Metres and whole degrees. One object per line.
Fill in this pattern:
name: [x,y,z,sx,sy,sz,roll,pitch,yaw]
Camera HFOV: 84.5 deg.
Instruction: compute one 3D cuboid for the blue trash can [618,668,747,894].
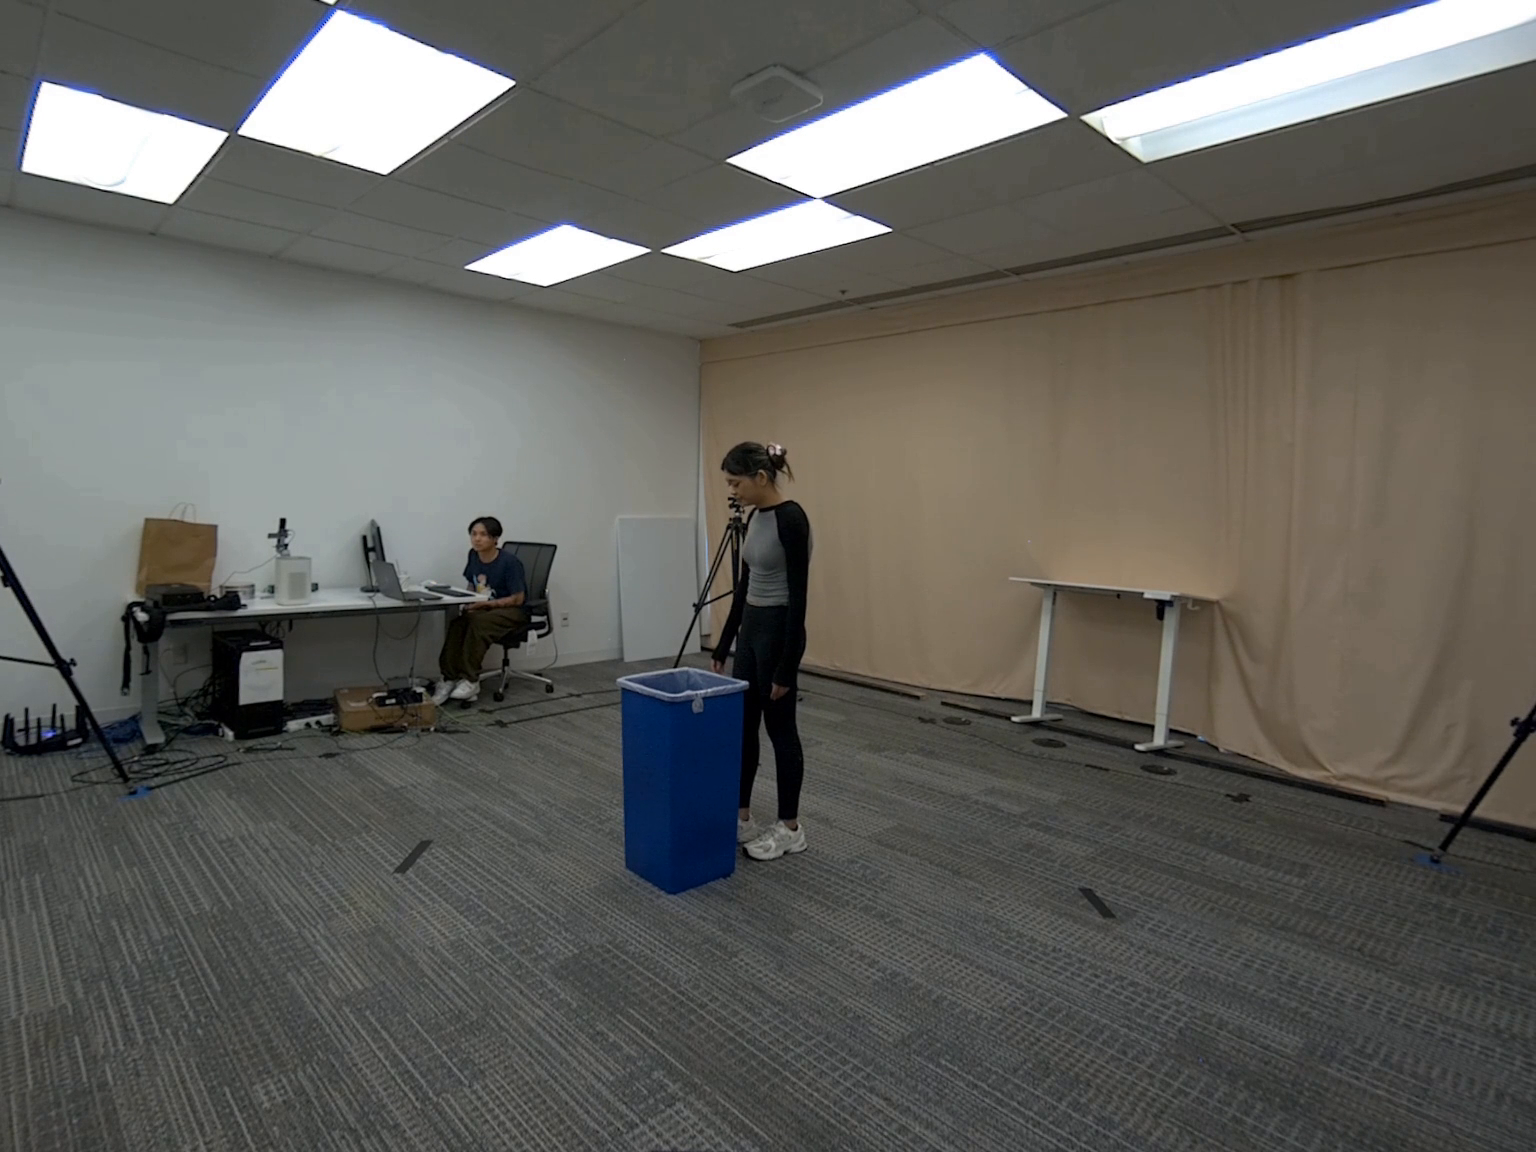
blue trash can: [-0.337,0.742,3.132,0.369,0.712,0.384,-1,5,-43]
